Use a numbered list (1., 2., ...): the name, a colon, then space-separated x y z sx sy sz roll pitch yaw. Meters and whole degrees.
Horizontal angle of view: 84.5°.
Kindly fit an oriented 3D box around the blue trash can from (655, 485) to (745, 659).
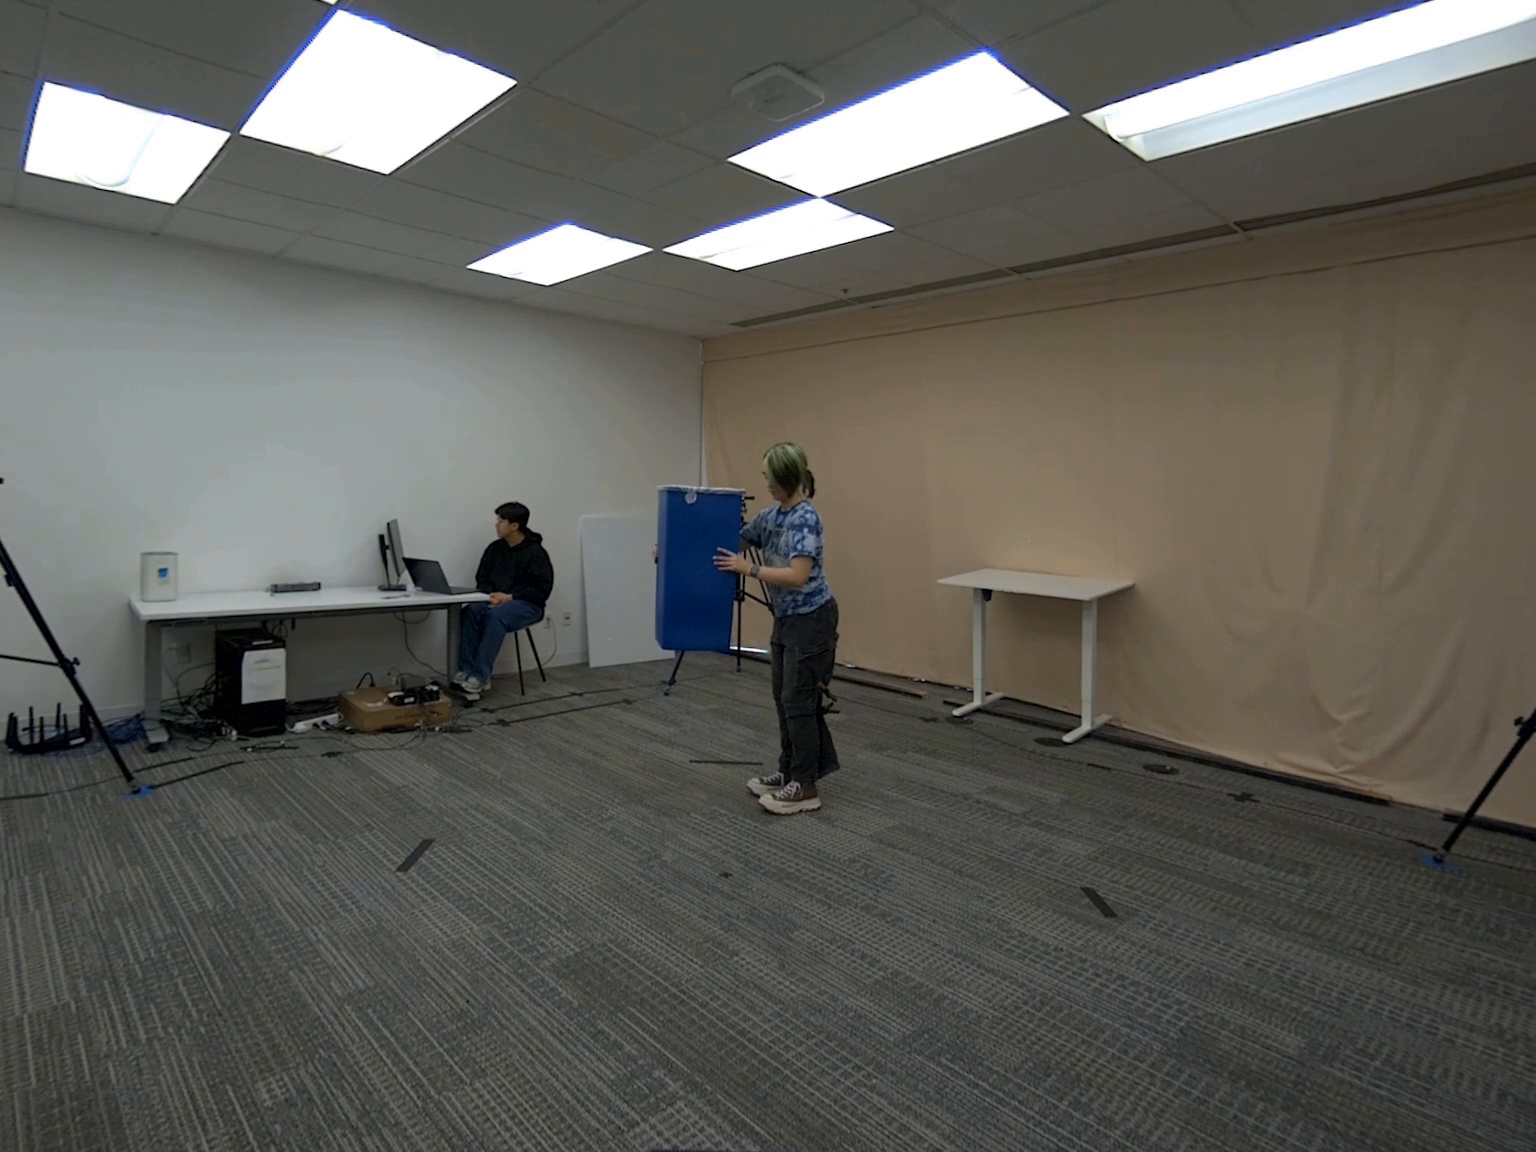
1. blue trash can: -0.331 -0.039 3.815 0.375 0.711 0.378 3 5 -11
